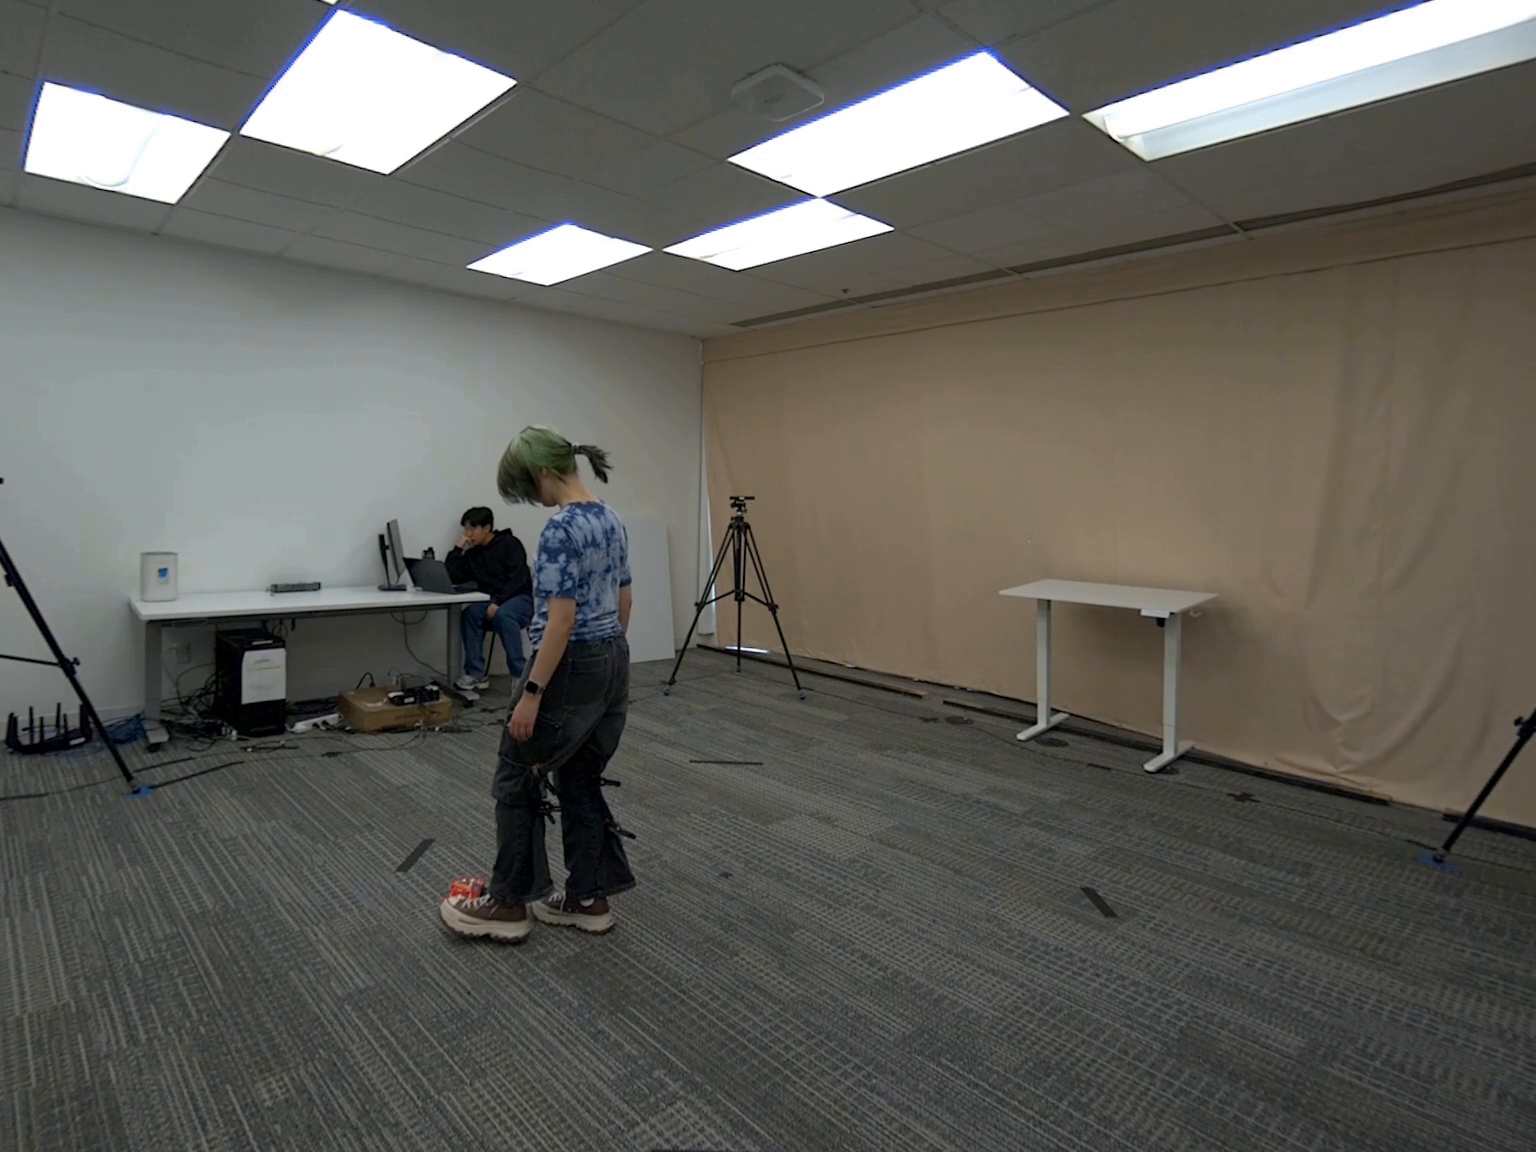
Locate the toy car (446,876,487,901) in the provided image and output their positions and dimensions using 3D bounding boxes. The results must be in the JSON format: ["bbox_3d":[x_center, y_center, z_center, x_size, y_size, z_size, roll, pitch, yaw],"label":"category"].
[{"bbox_3d":[-1.030,1.081,2.817,0.130,0.083,0.254,1,-4,-5],"label":"toy car"}]
